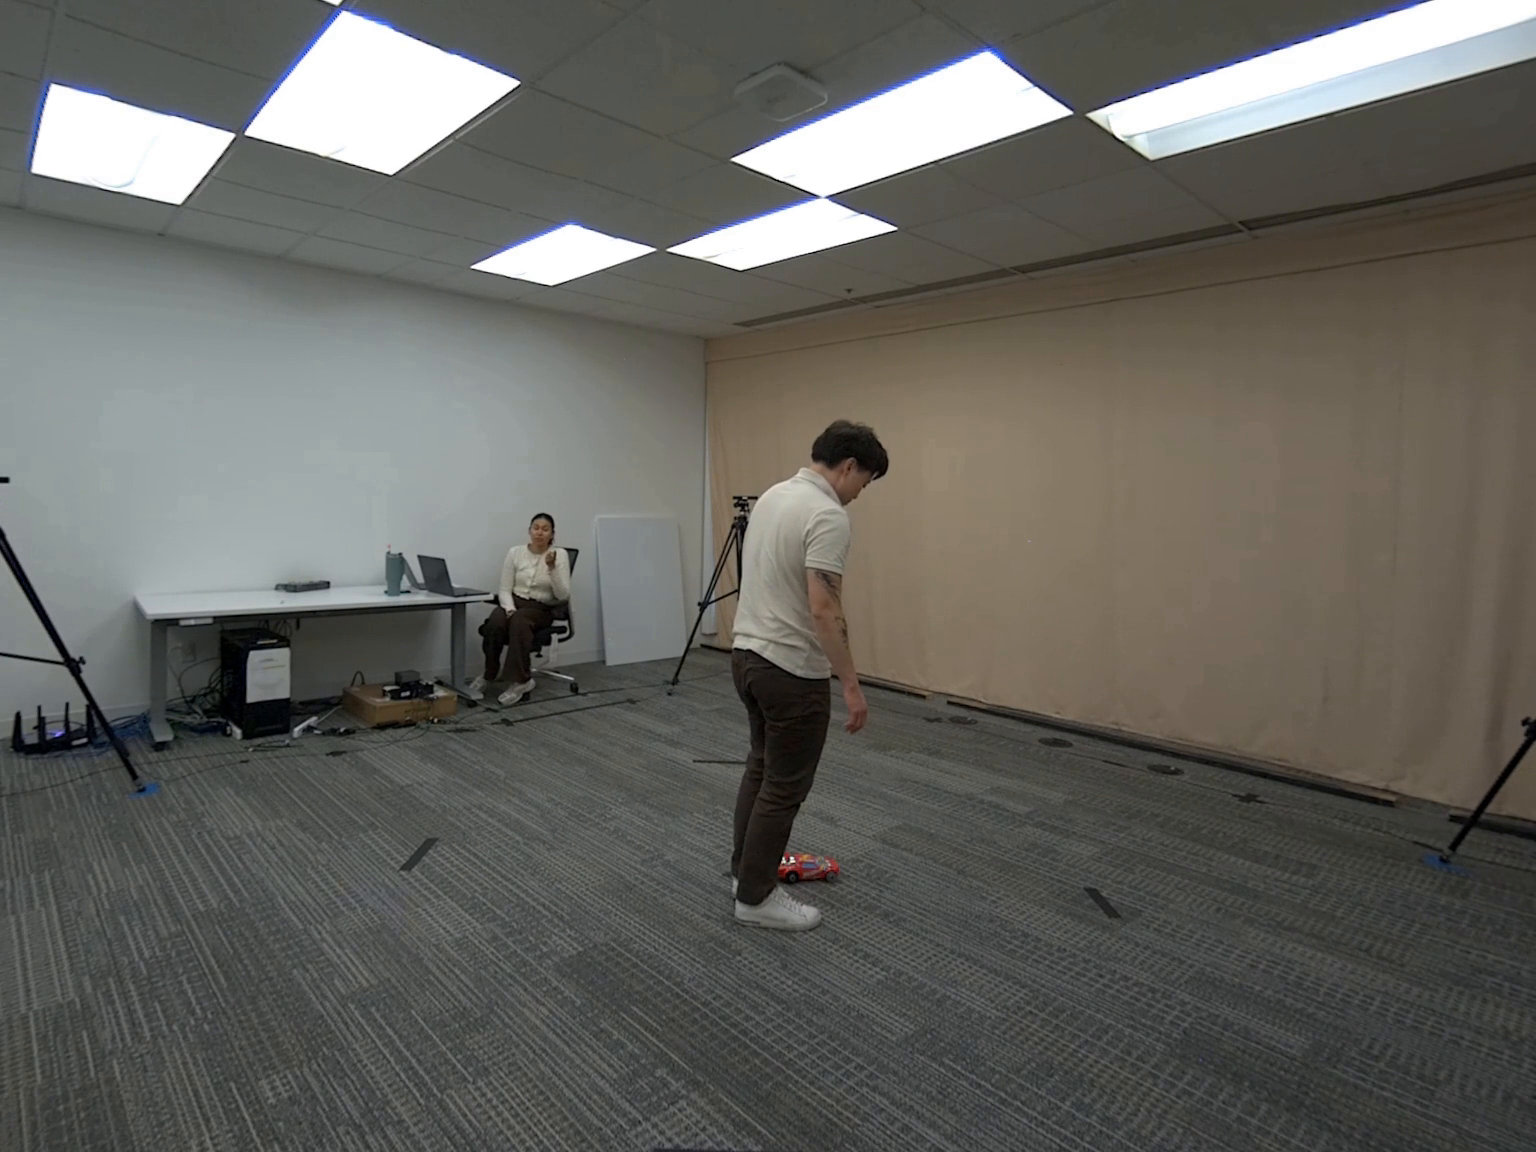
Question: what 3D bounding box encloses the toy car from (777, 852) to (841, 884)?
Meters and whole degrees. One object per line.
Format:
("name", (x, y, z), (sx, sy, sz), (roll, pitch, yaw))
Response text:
("toy car", (0.130, 1.076, 3.100), (0.253, 0.083, 0.131), (10, 3, -5))
